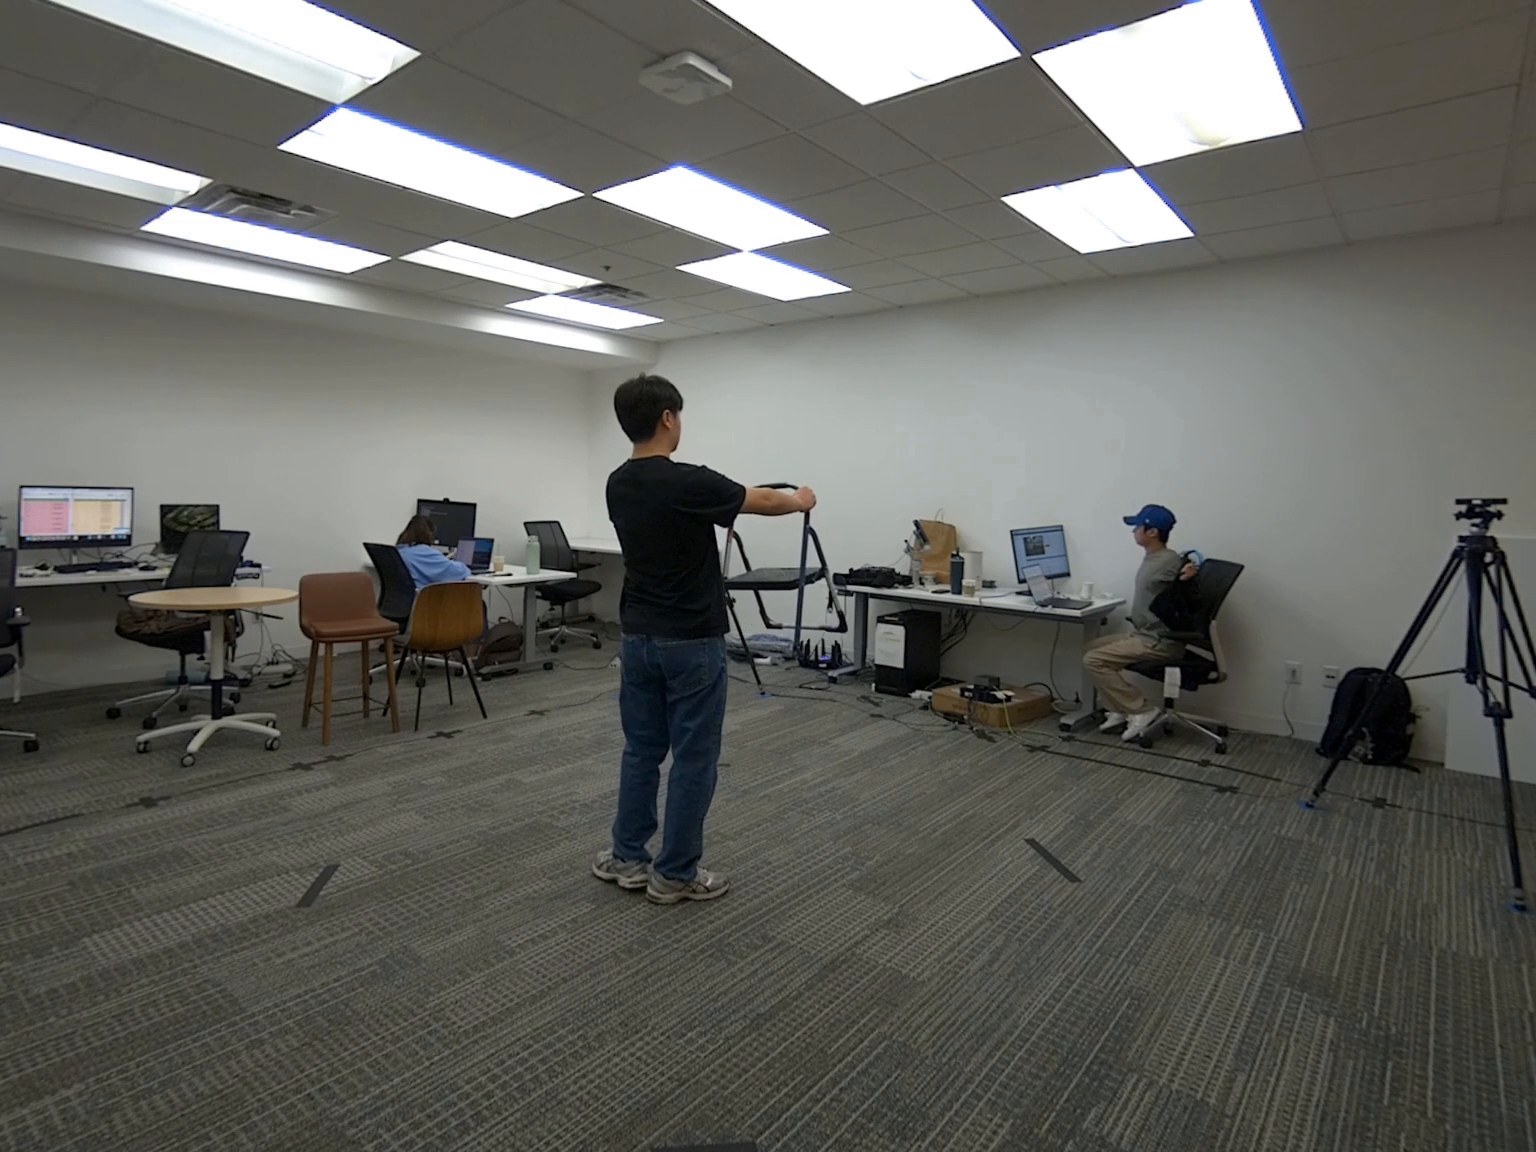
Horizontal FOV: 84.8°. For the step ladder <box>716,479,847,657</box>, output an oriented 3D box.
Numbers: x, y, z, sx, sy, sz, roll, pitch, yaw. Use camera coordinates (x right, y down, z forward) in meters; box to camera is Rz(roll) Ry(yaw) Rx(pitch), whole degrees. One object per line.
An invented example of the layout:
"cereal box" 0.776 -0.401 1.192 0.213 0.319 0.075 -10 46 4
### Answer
"step ladder" -0.009 -0.044 3.282 0.444 0.602 0.341 -1 8 42
